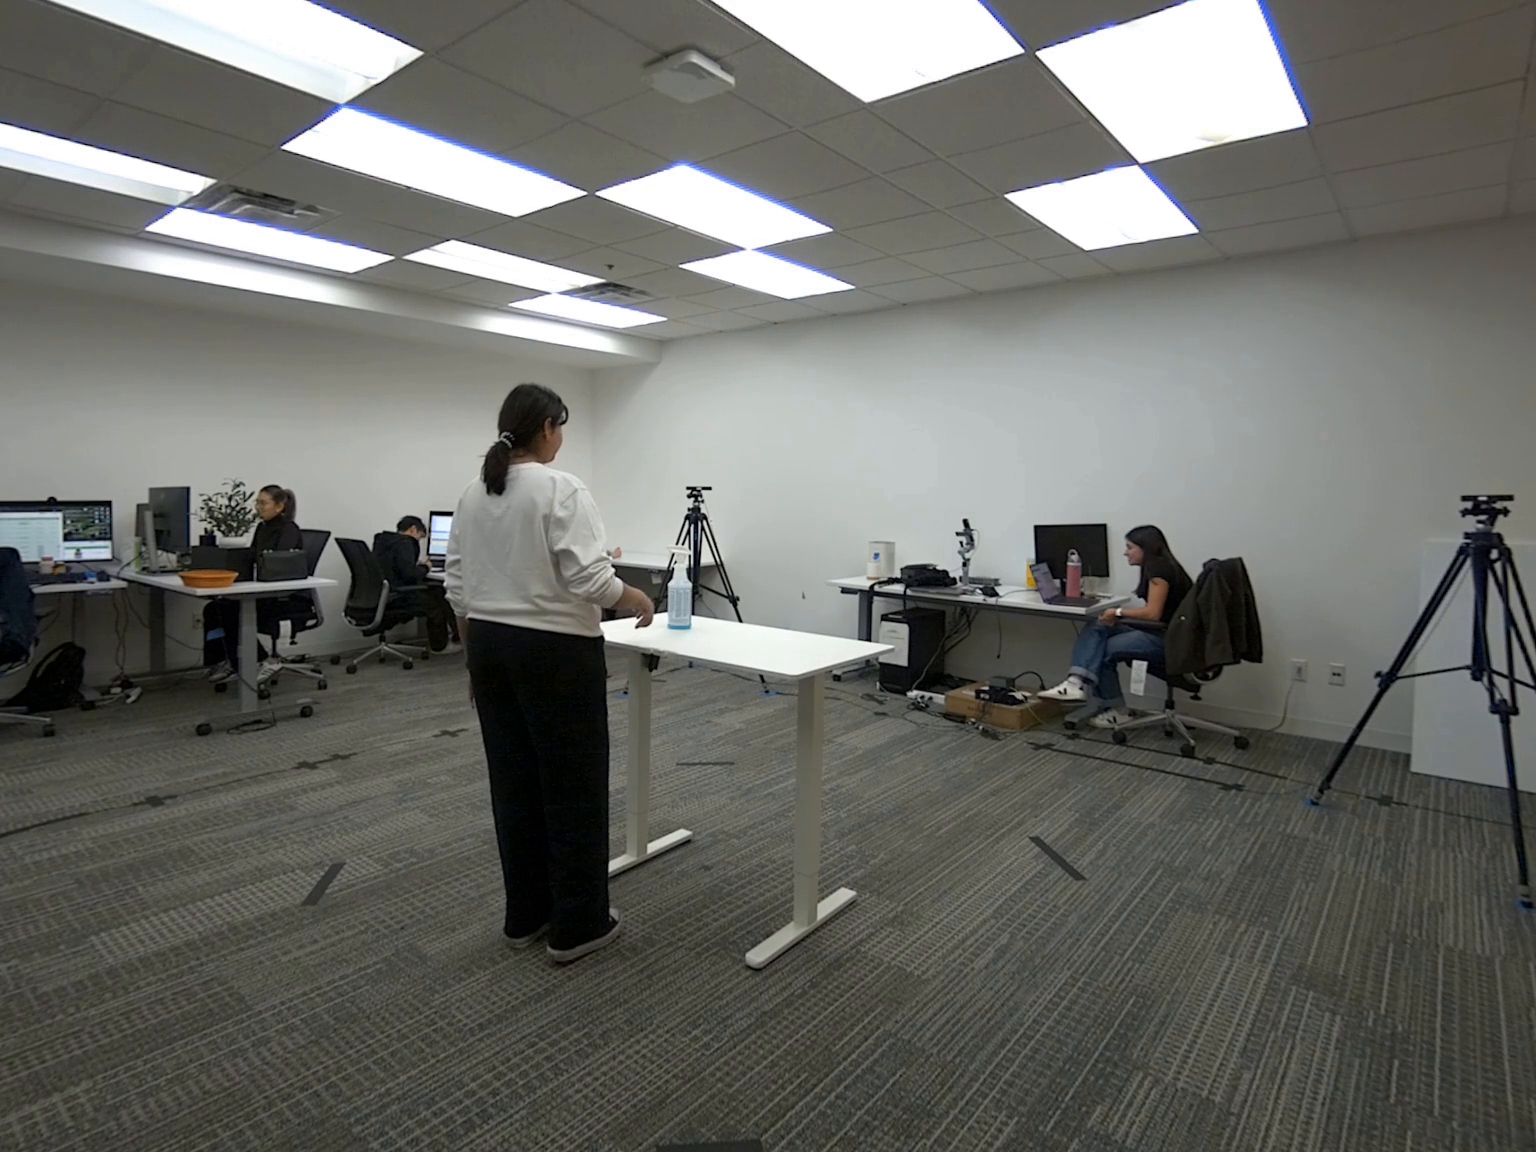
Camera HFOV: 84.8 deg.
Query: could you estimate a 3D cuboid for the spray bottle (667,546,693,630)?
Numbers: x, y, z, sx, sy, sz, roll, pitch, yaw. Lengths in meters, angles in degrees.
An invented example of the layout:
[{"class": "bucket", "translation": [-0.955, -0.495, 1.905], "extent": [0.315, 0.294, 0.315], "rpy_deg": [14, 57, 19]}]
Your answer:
[{"class": "spray bottle", "translation": [-0.317, 0.040, 3.049], "extent": [0.092, 0.297, 0.085], "rpy_deg": [2, 2, 20]}]
